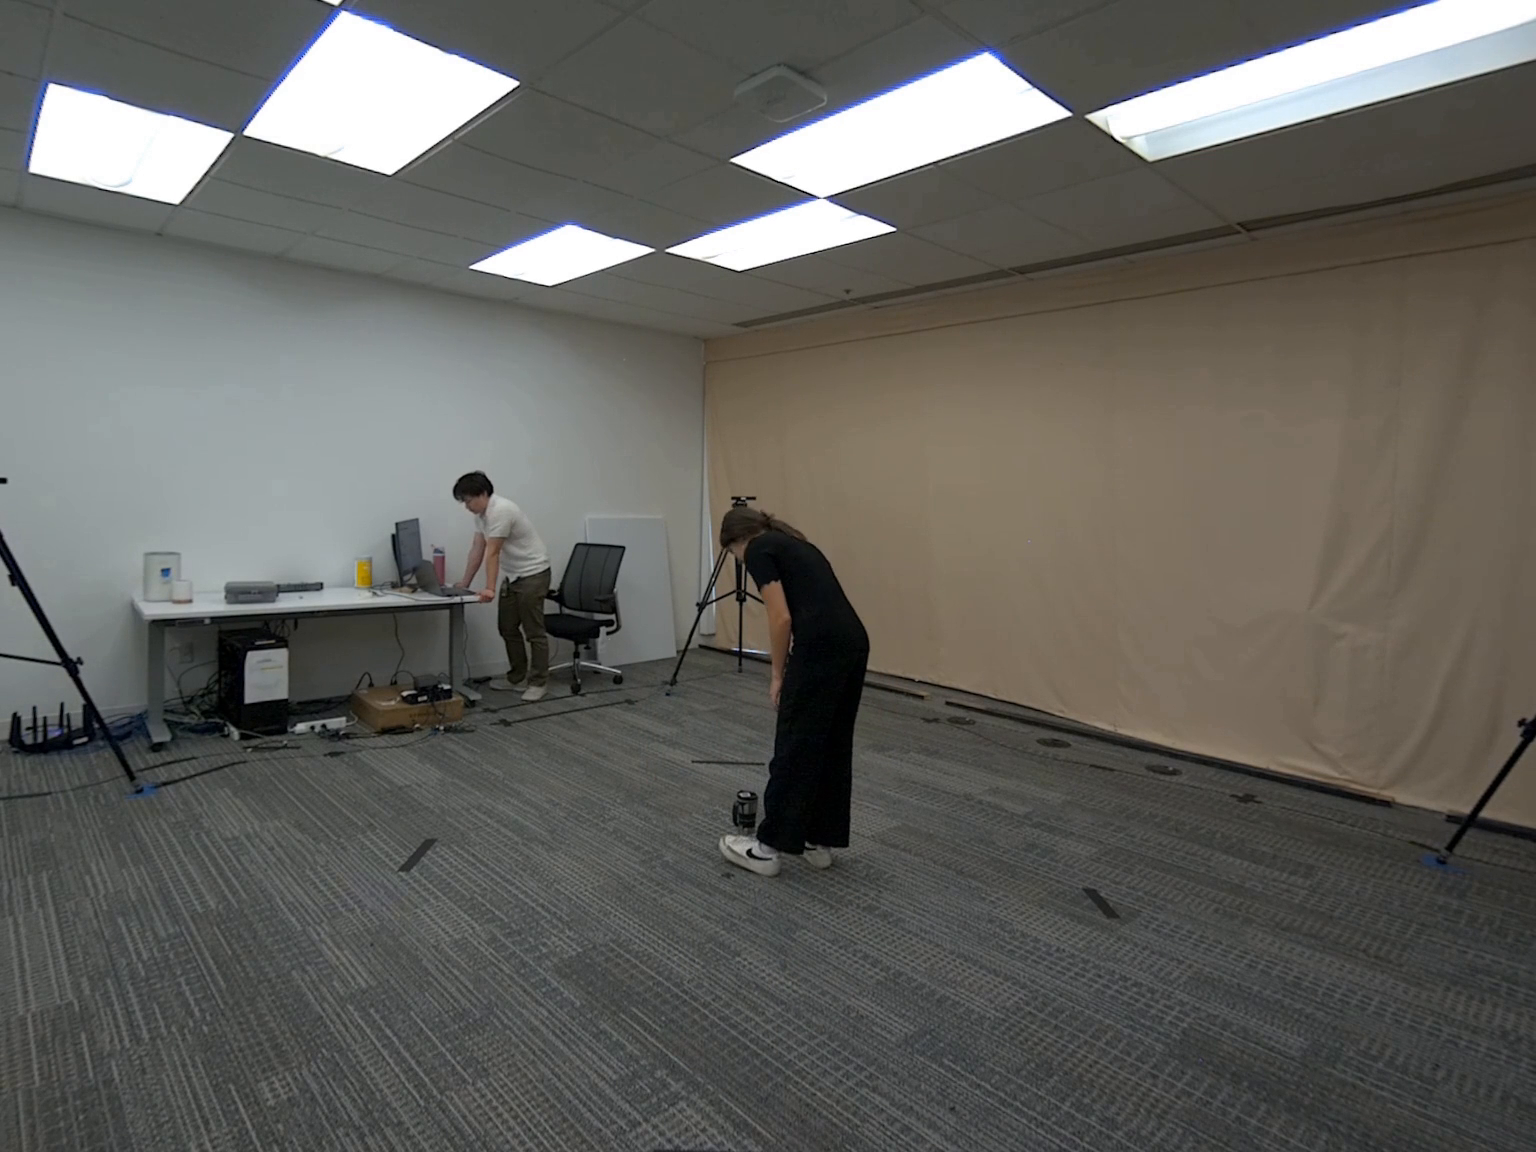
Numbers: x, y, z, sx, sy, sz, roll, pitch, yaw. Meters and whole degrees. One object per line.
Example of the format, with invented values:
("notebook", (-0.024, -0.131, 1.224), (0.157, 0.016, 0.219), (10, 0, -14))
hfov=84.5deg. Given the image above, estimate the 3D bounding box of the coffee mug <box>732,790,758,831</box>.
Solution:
("coffee mug", (-0.112, 0.982, 3.388), (0.119, 0.202, 0.090), (1, 6, -28))
